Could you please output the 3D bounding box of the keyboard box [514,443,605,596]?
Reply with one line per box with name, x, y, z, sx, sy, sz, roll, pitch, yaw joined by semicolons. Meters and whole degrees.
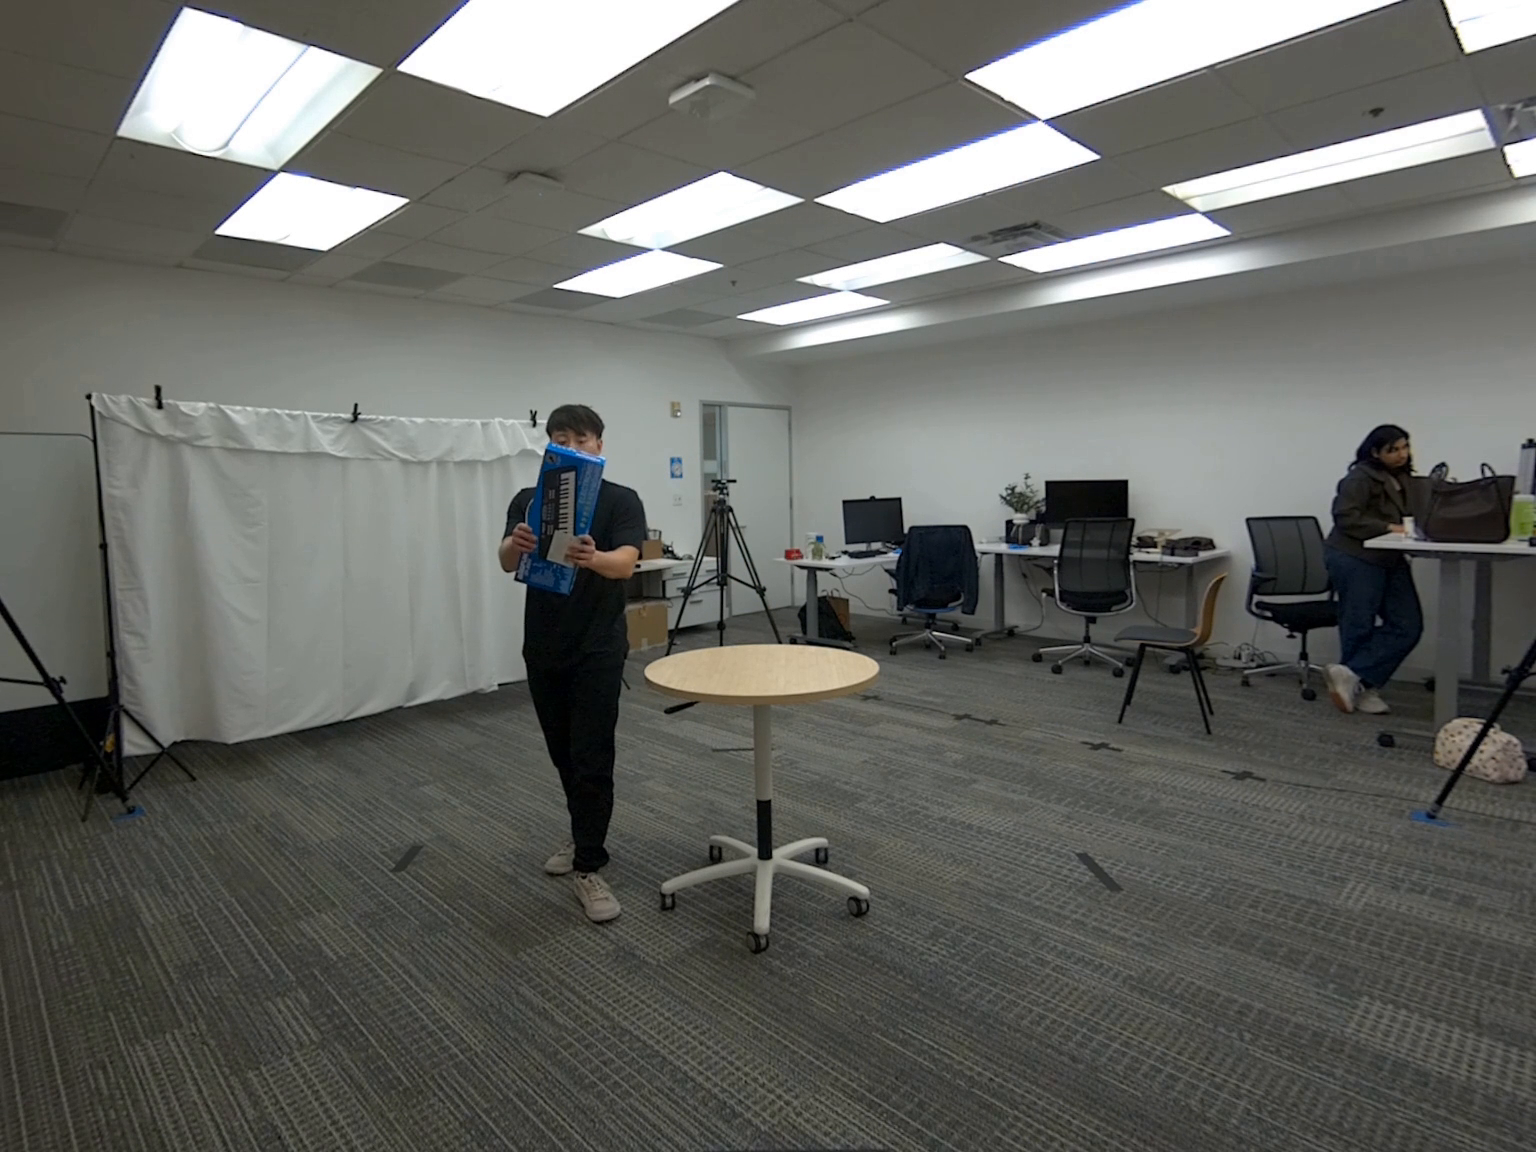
keyboard box;-0.616;-0.162;2.508;0.174;0.432;0.060;17;23;-9
